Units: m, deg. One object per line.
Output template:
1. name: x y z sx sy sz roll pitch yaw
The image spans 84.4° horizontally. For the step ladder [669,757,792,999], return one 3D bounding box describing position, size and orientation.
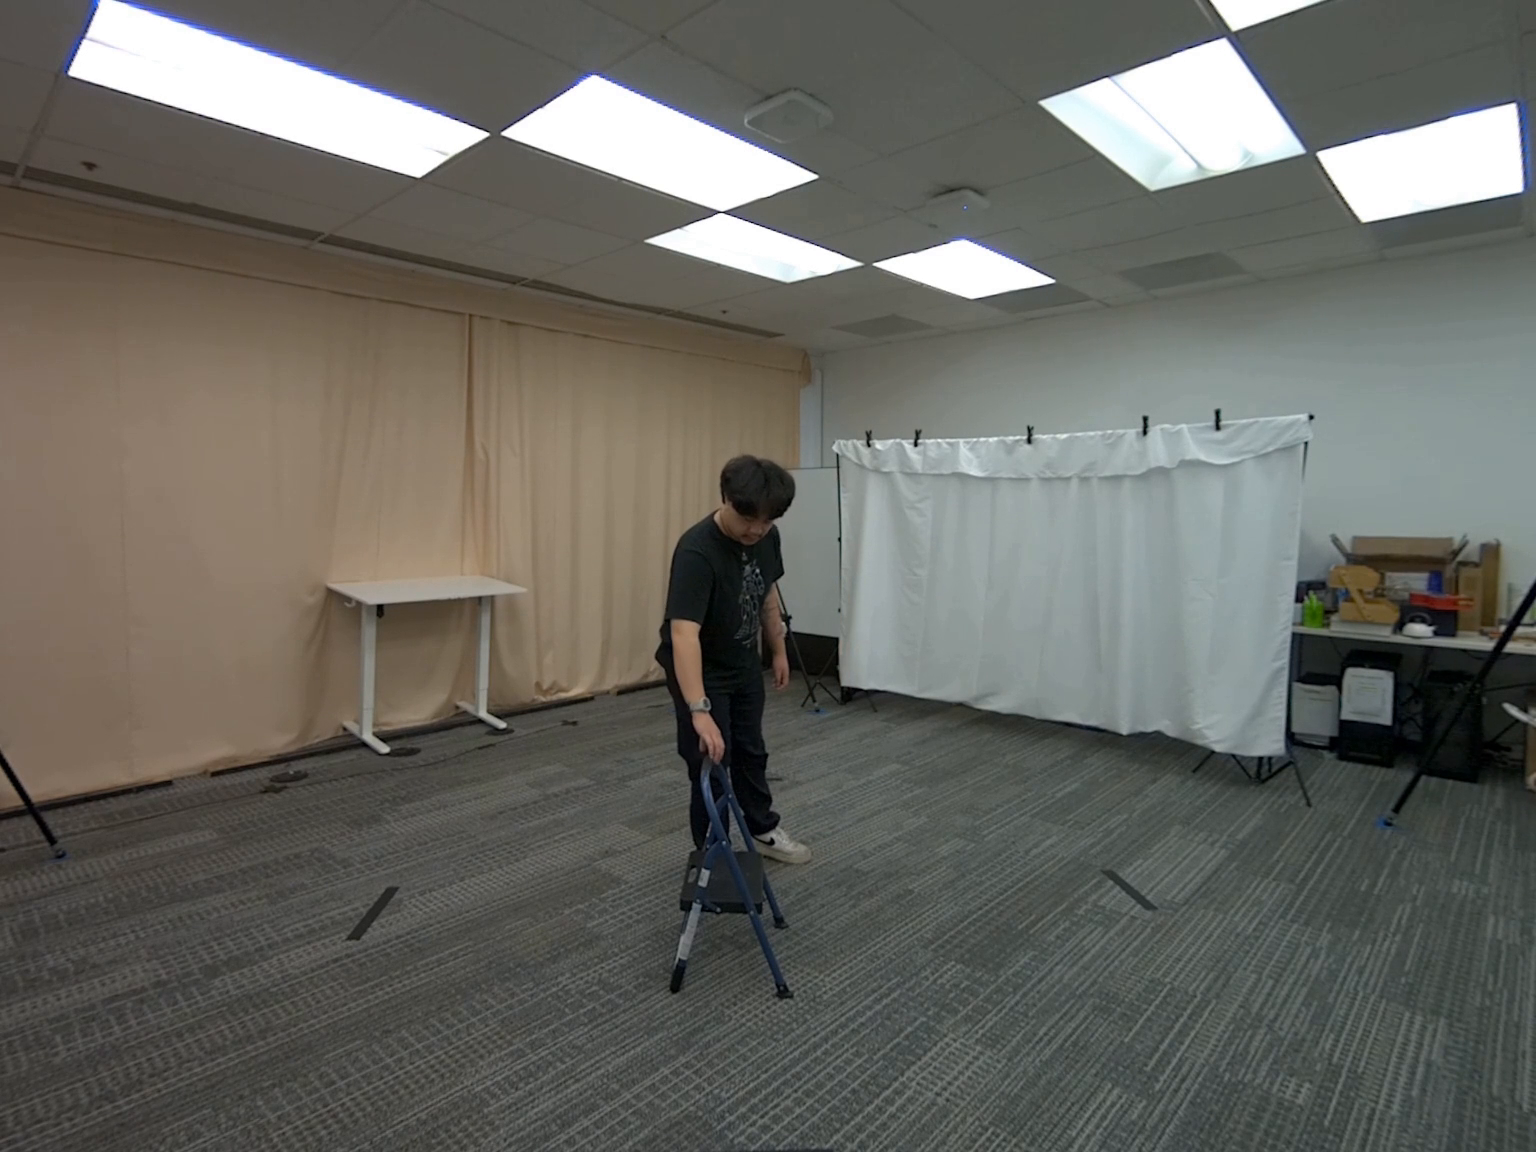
1. step ladder: -0.108 0.870 2.585 0.350 0.605 0.431 0 3 0
